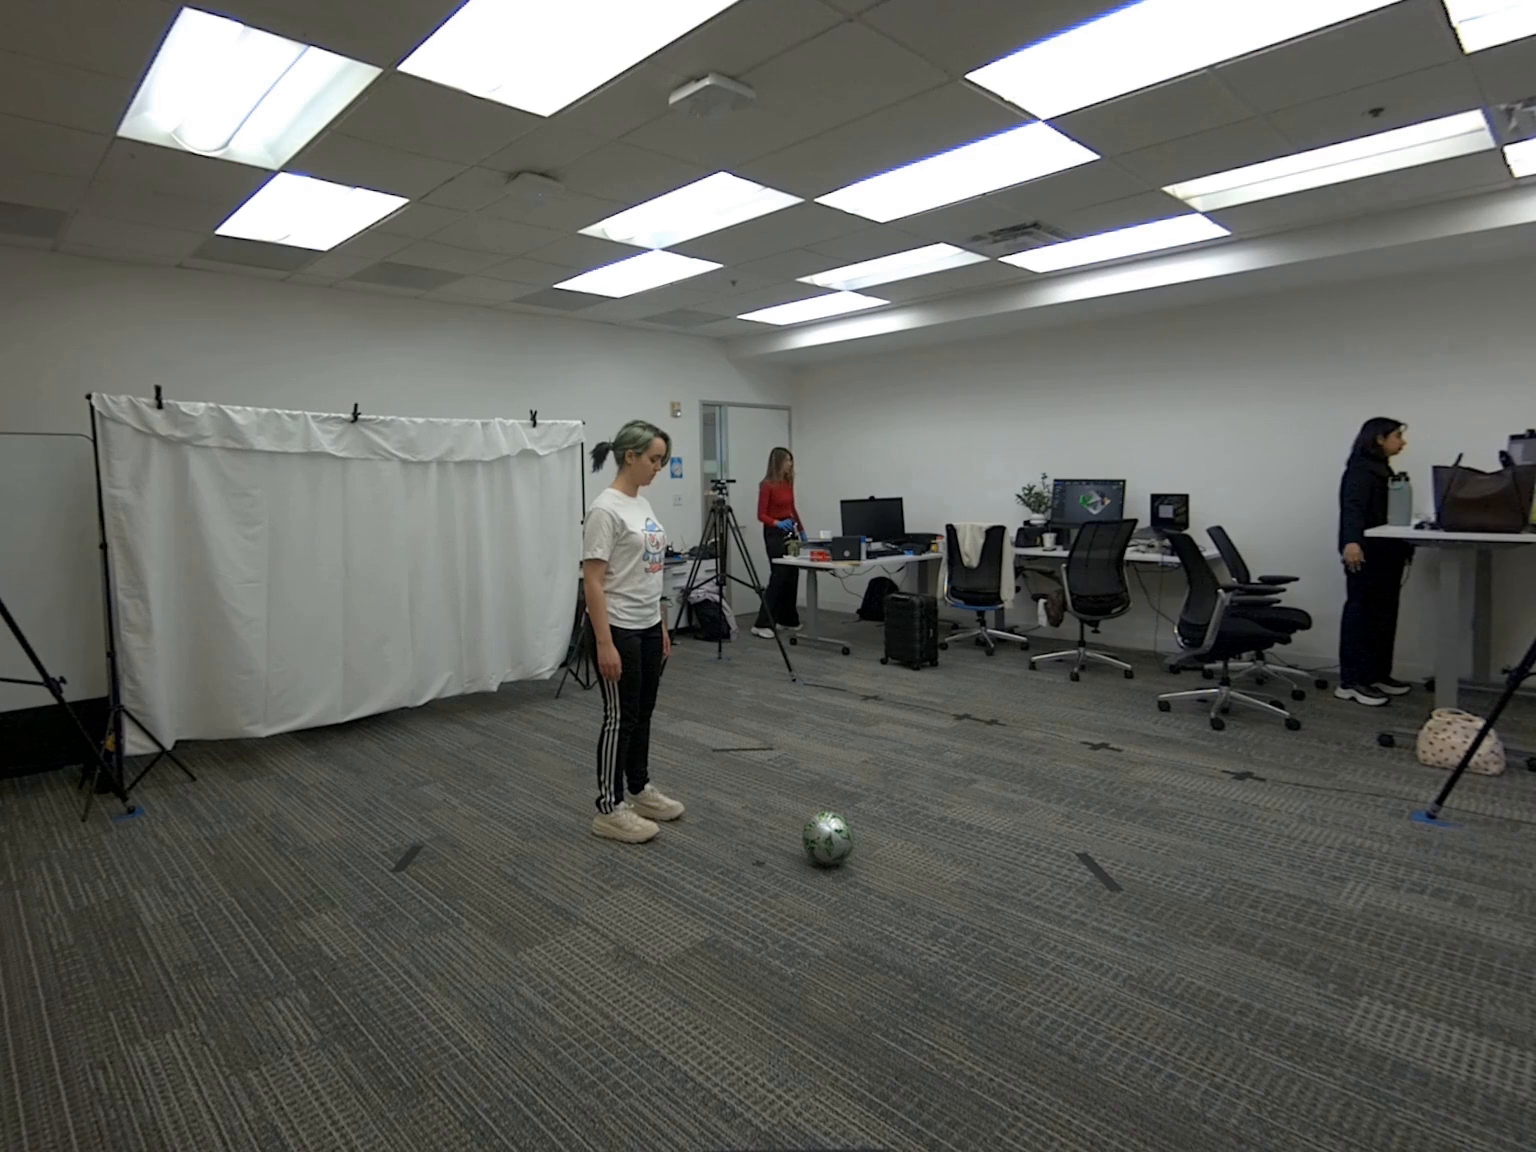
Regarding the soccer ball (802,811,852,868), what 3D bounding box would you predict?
[{"bbox_3d":[0.217,0.950,3.094,0.187,0.187,0.188,-1,5,-2],"label":"soccer ball"}]
